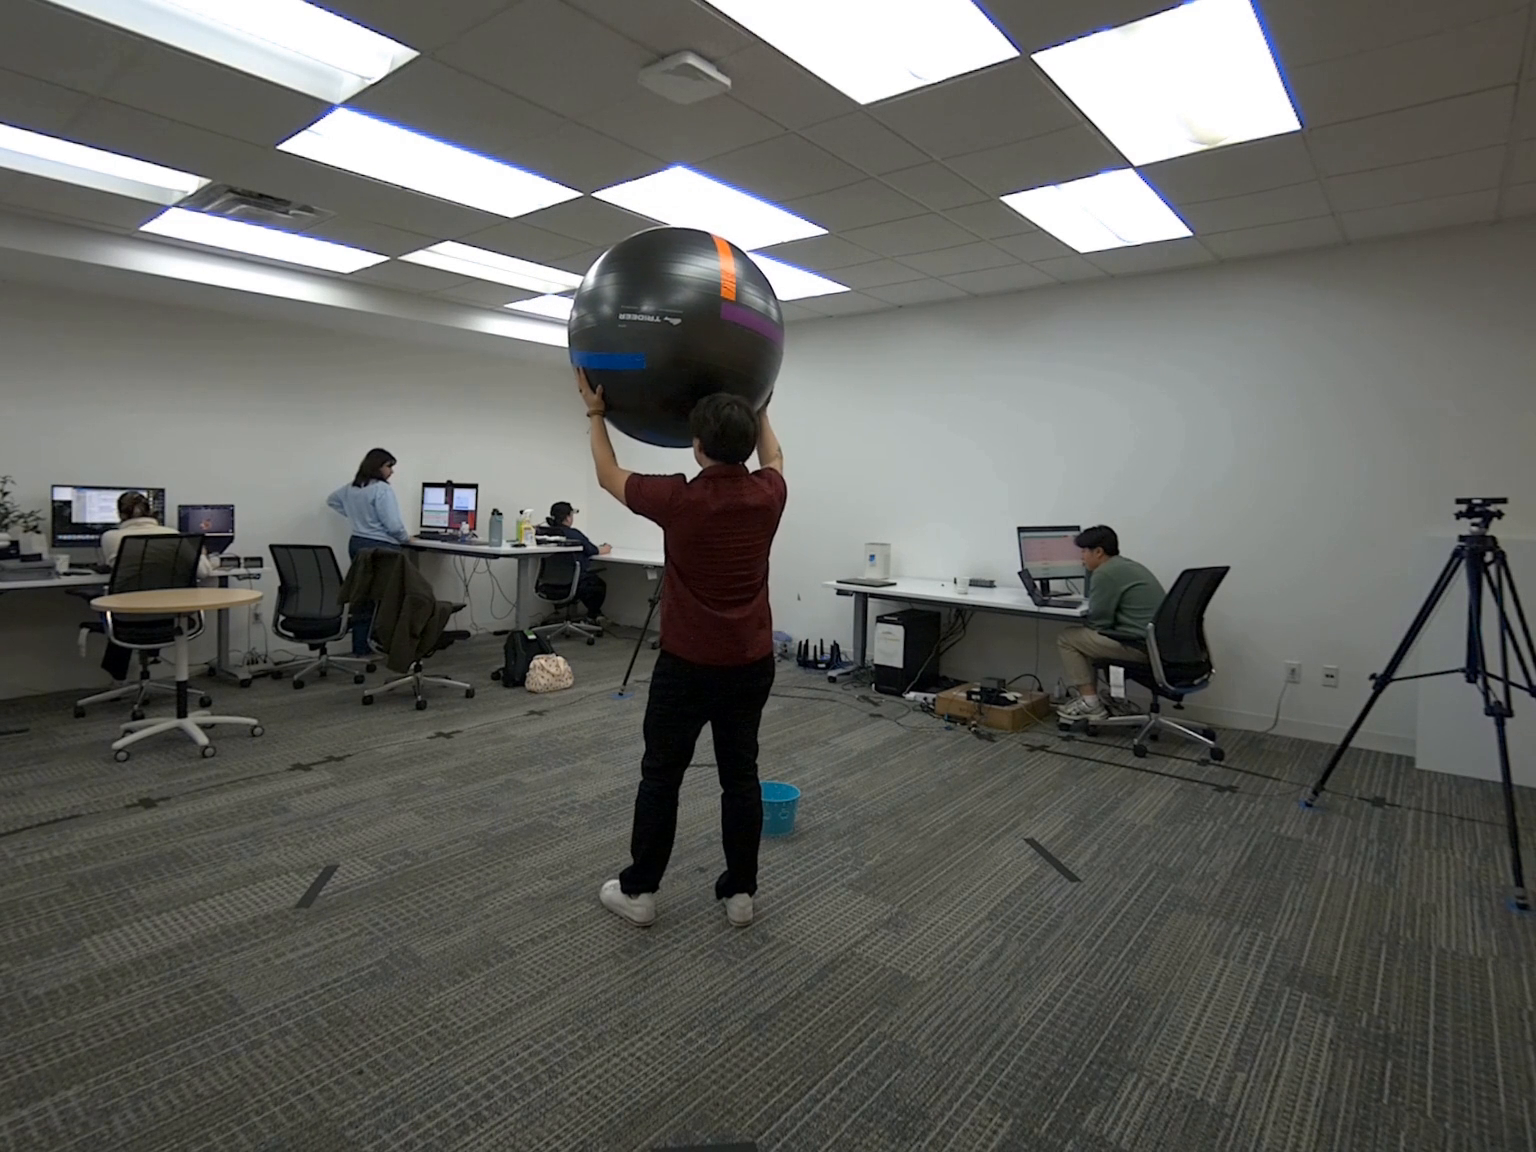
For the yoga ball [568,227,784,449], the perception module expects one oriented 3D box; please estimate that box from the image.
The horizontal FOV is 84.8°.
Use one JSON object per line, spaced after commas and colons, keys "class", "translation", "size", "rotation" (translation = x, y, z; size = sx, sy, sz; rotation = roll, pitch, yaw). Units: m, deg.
{"class": "yoga ball", "translation": [-0.334, -0.827, 2.985], "size": [0.757, 0.755, 0.762], "rotation": [1, 4, -2]}
